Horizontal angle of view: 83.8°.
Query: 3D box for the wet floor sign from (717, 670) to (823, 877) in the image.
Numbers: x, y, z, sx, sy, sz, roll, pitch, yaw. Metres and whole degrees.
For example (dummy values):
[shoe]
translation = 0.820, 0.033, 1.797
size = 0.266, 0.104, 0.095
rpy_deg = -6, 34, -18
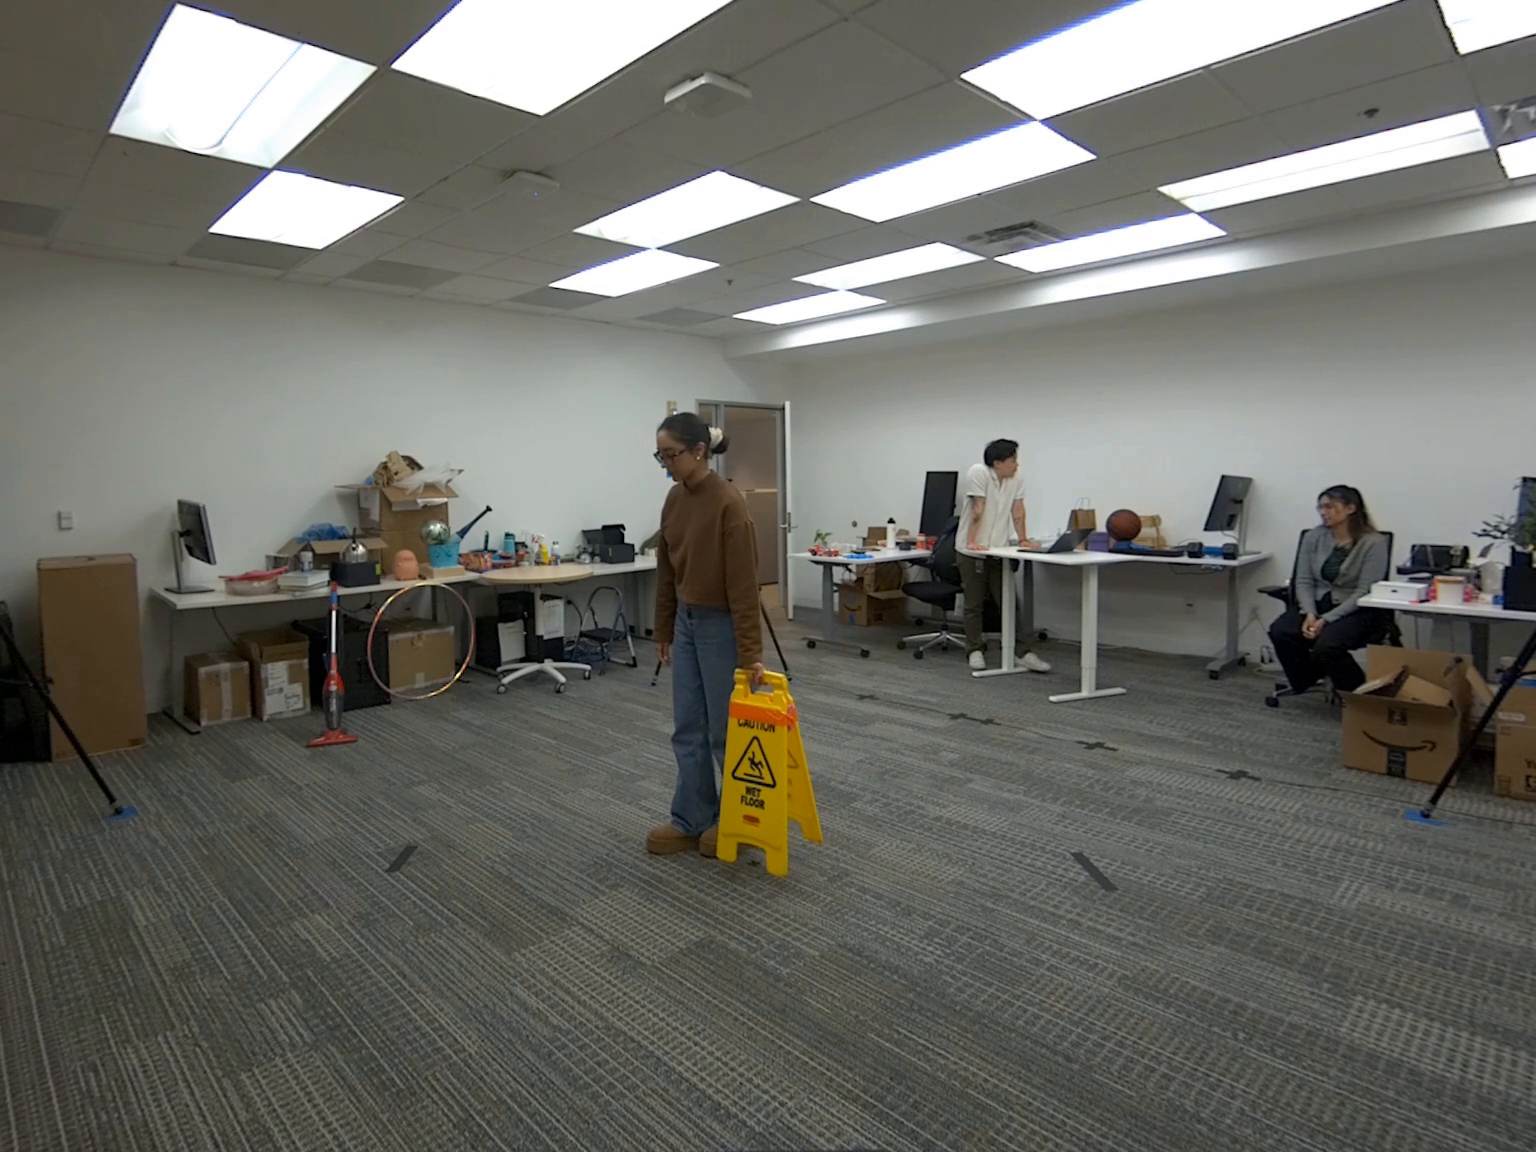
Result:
[wet floor sign]
translation = -0.007, 0.647, 2.961
size = 0.290, 0.642, 0.283
rpy_deg = 3, 8, 34
